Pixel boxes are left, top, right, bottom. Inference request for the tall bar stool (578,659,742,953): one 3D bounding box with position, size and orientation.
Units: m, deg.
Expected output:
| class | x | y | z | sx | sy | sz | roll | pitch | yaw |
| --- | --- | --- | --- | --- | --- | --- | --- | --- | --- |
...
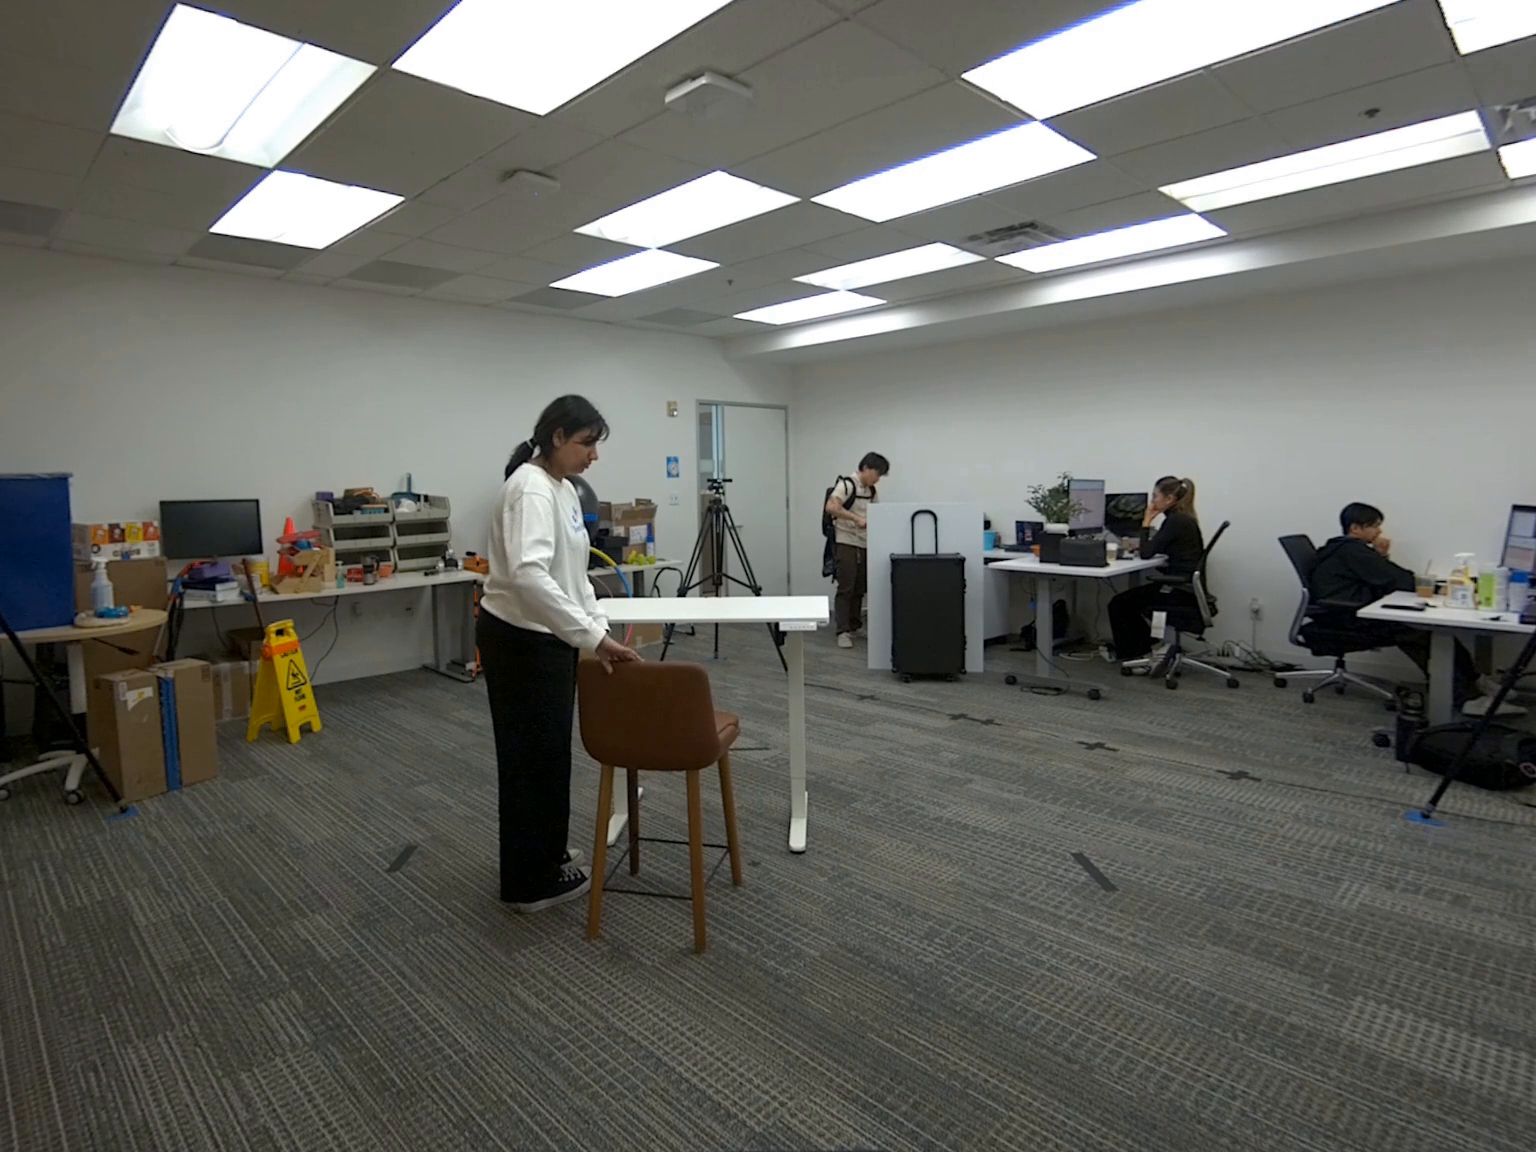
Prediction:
| class | x | y | z | sx | sy | sz | roll | pitch | yaw |
| --- | --- | --- | --- | --- | --- | --- | --- | --- | --- |
| tall bar stool | -0.337 | 0.655 | 2.747 | 0.463 | 0.884 | 0.464 | 0 | 7 | 14 |
